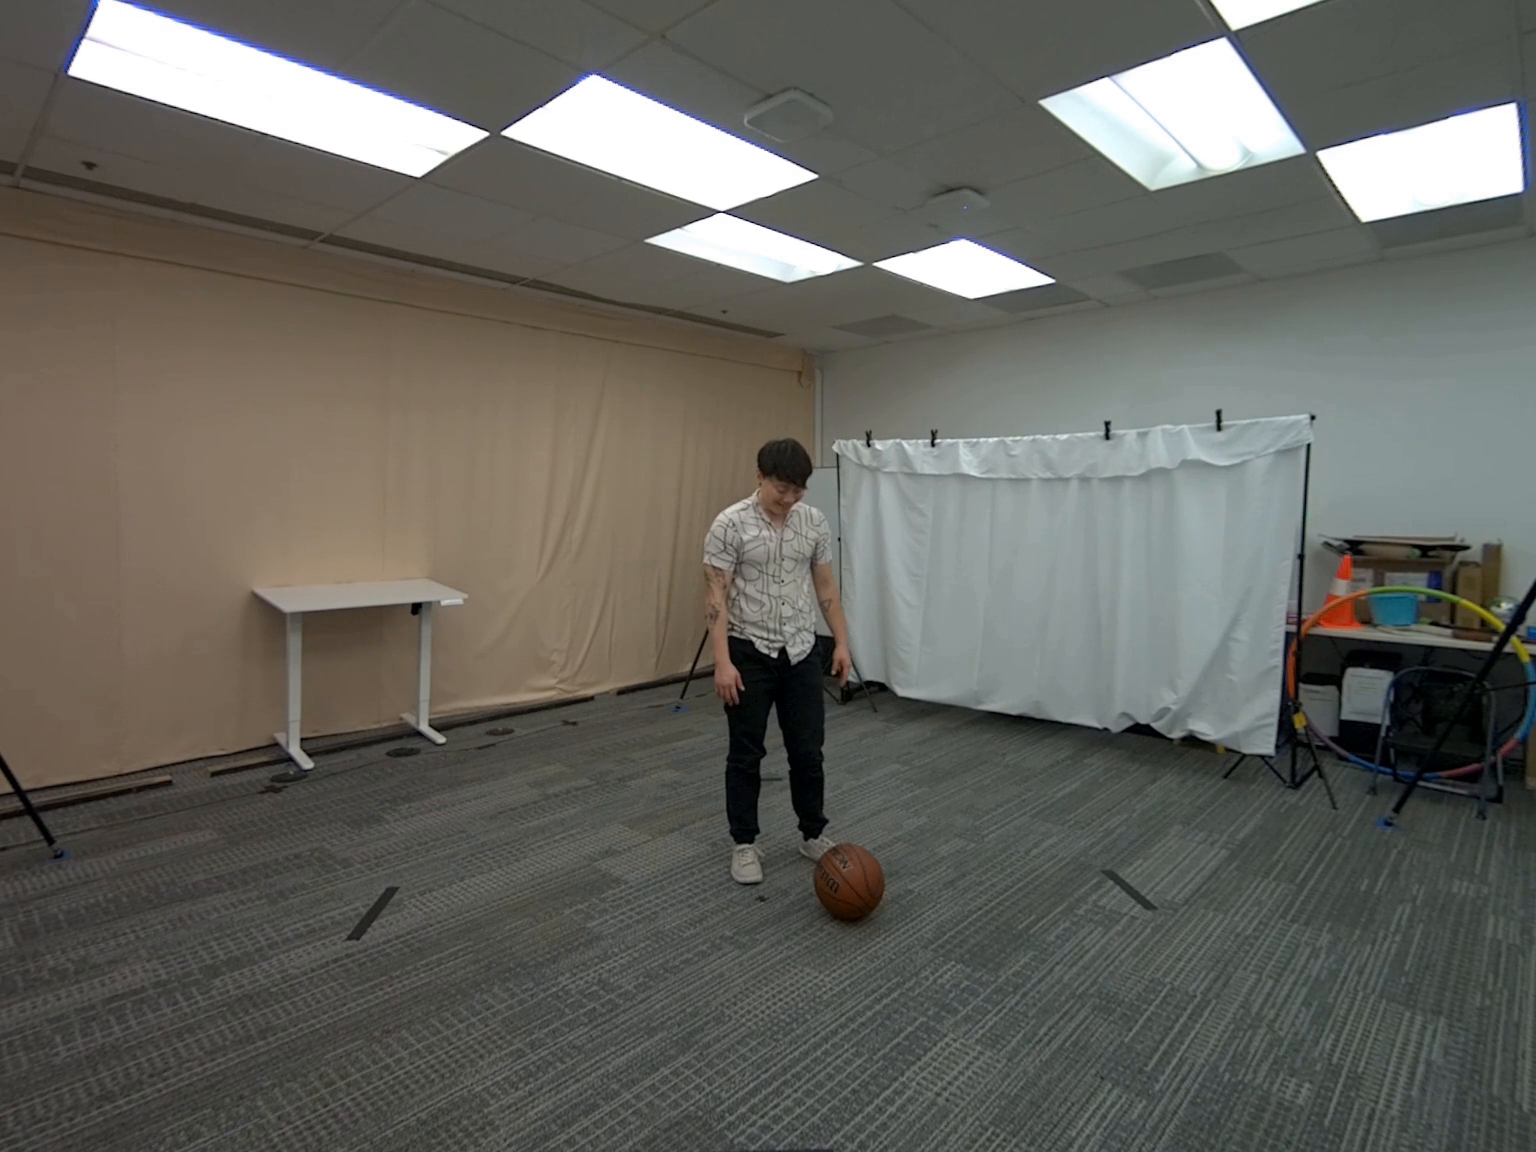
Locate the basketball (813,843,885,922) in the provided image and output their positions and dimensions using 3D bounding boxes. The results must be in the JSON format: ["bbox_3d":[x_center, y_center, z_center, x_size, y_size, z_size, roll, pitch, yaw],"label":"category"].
[{"bbox_3d":[0.286,1.033,2.850,0.236,0.235,0.237,0,4,-2],"label":"basketball"}]
